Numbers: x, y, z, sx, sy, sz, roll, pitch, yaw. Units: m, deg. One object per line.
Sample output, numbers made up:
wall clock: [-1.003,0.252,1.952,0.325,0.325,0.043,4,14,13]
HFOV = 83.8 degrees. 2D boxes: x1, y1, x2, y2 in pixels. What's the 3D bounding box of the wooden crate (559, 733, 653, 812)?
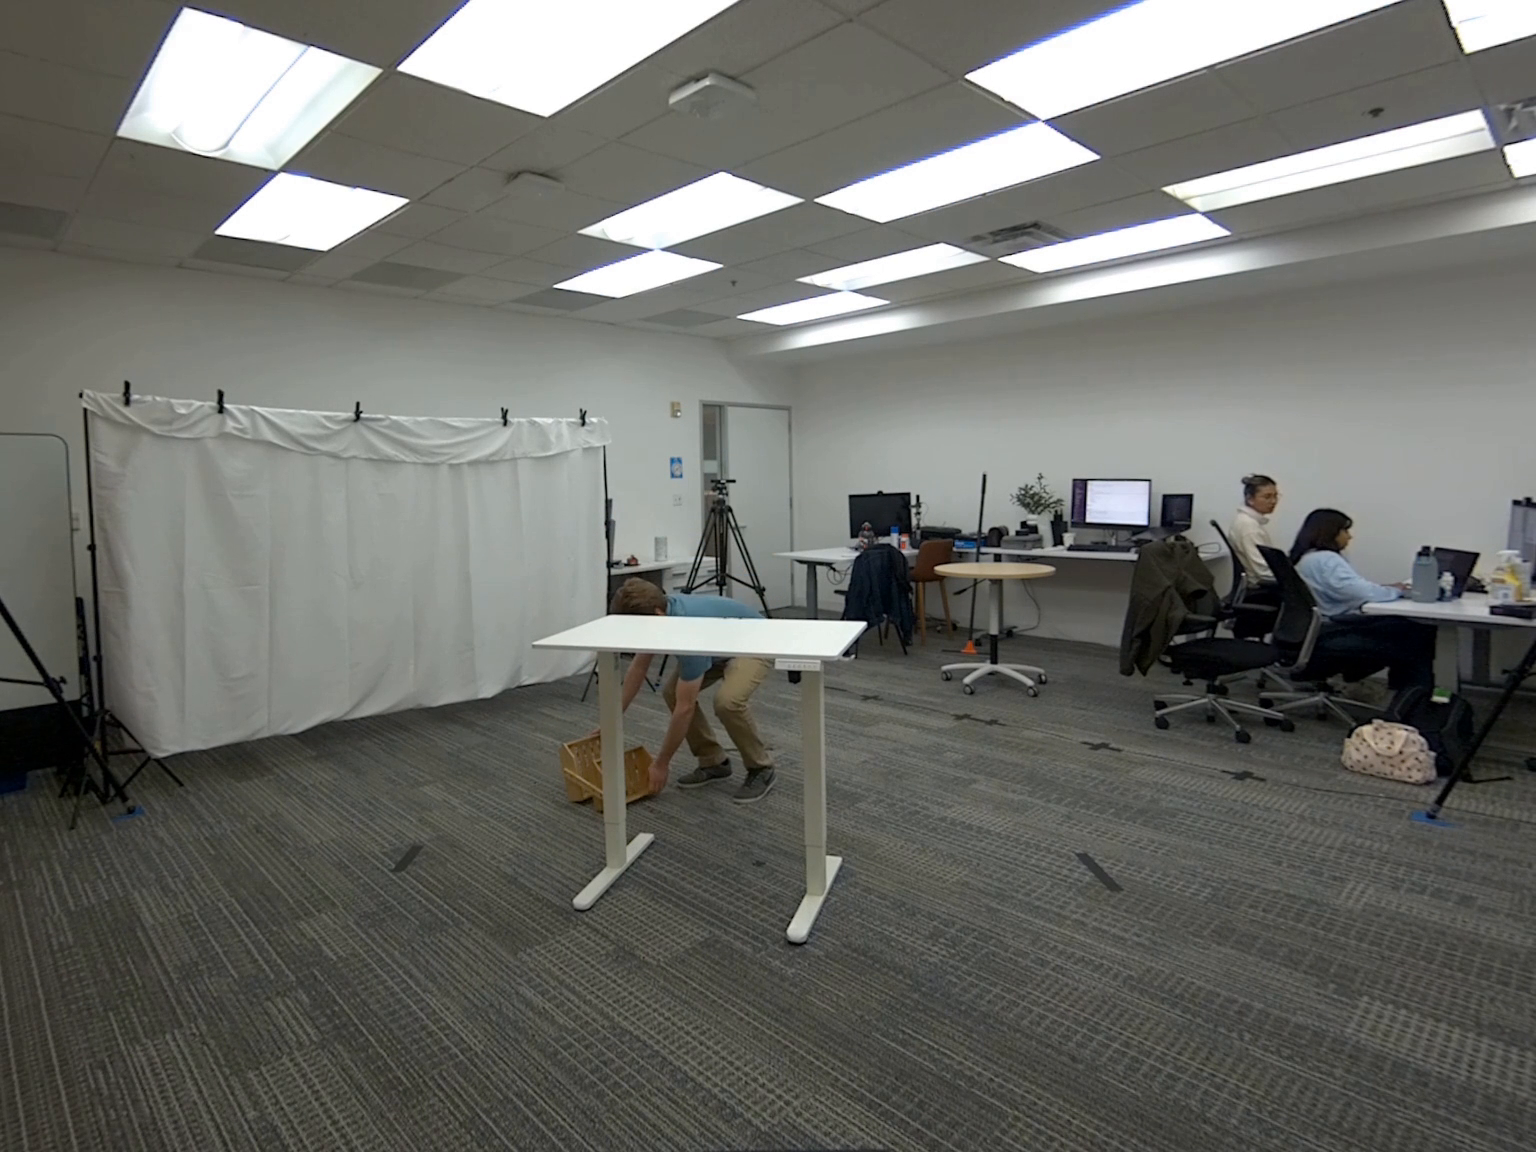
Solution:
wooden crate: [-0.703,0.850,3.804,0.278,0.304,0.316,-19,-8,37]
